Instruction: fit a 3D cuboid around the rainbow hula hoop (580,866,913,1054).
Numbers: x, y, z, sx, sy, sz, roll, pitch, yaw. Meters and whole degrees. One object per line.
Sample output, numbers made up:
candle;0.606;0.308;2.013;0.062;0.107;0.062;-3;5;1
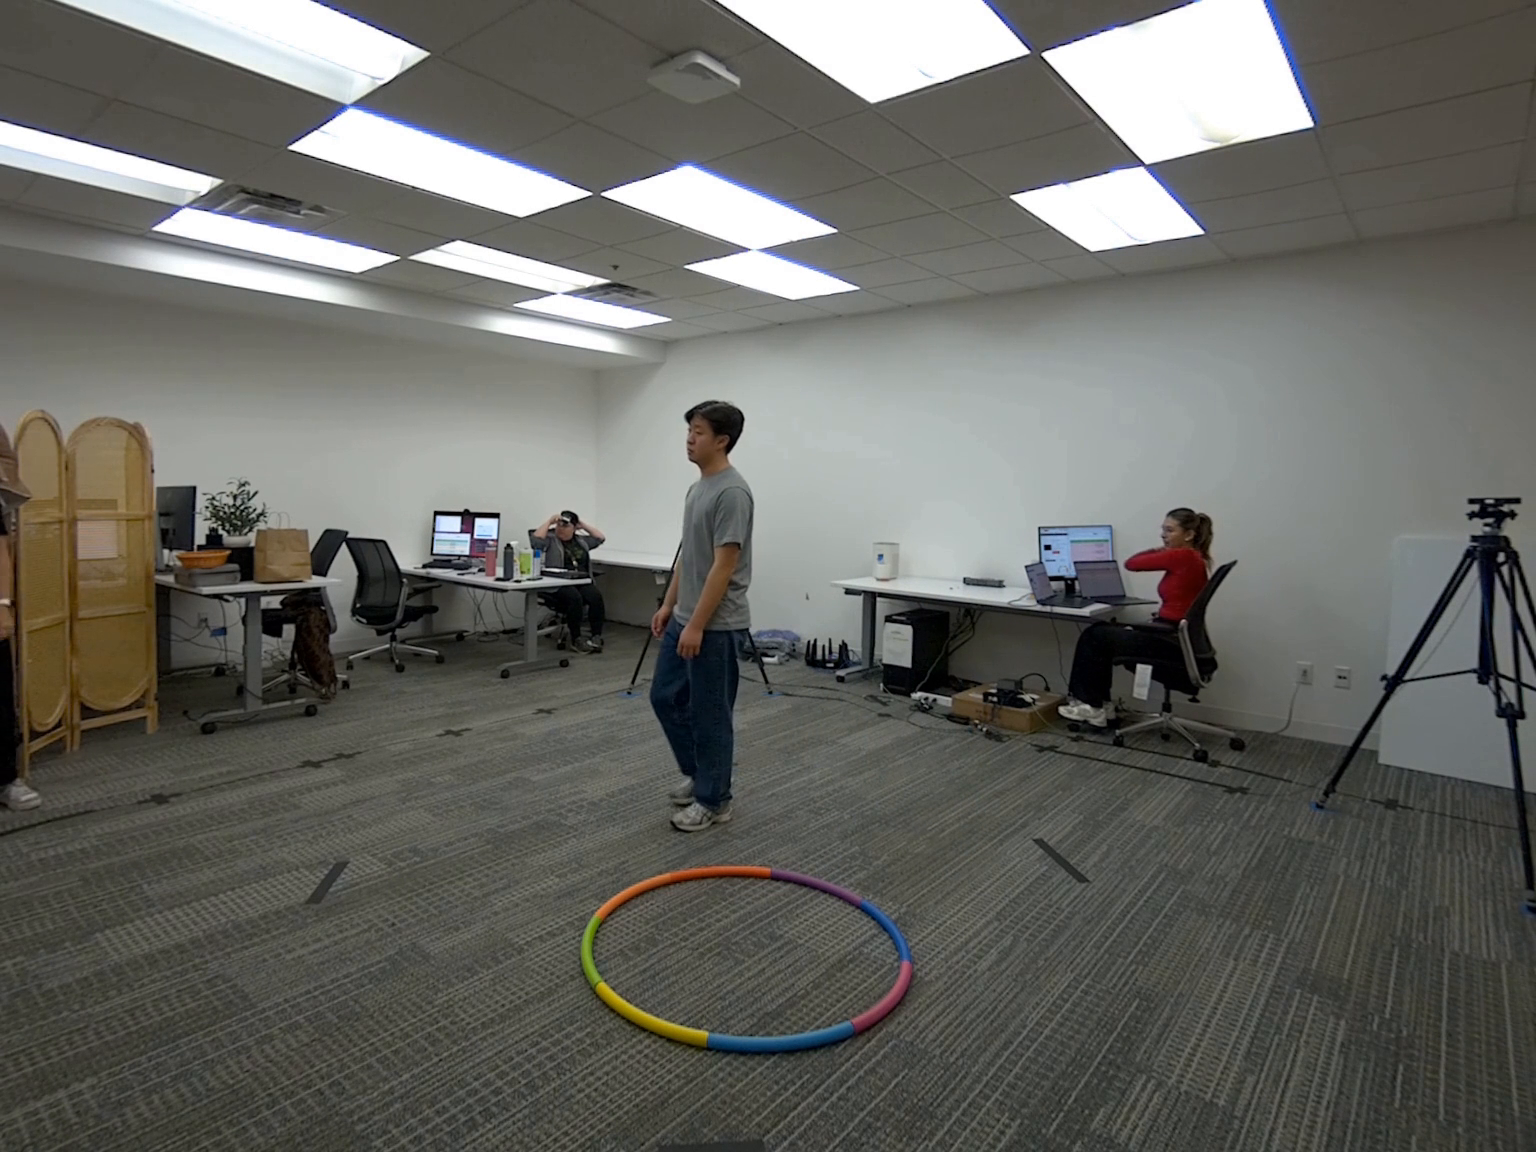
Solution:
rainbow hula hoop;-0.078;1.090;2.577;0.978;0.035;0.984;1;5;-2
